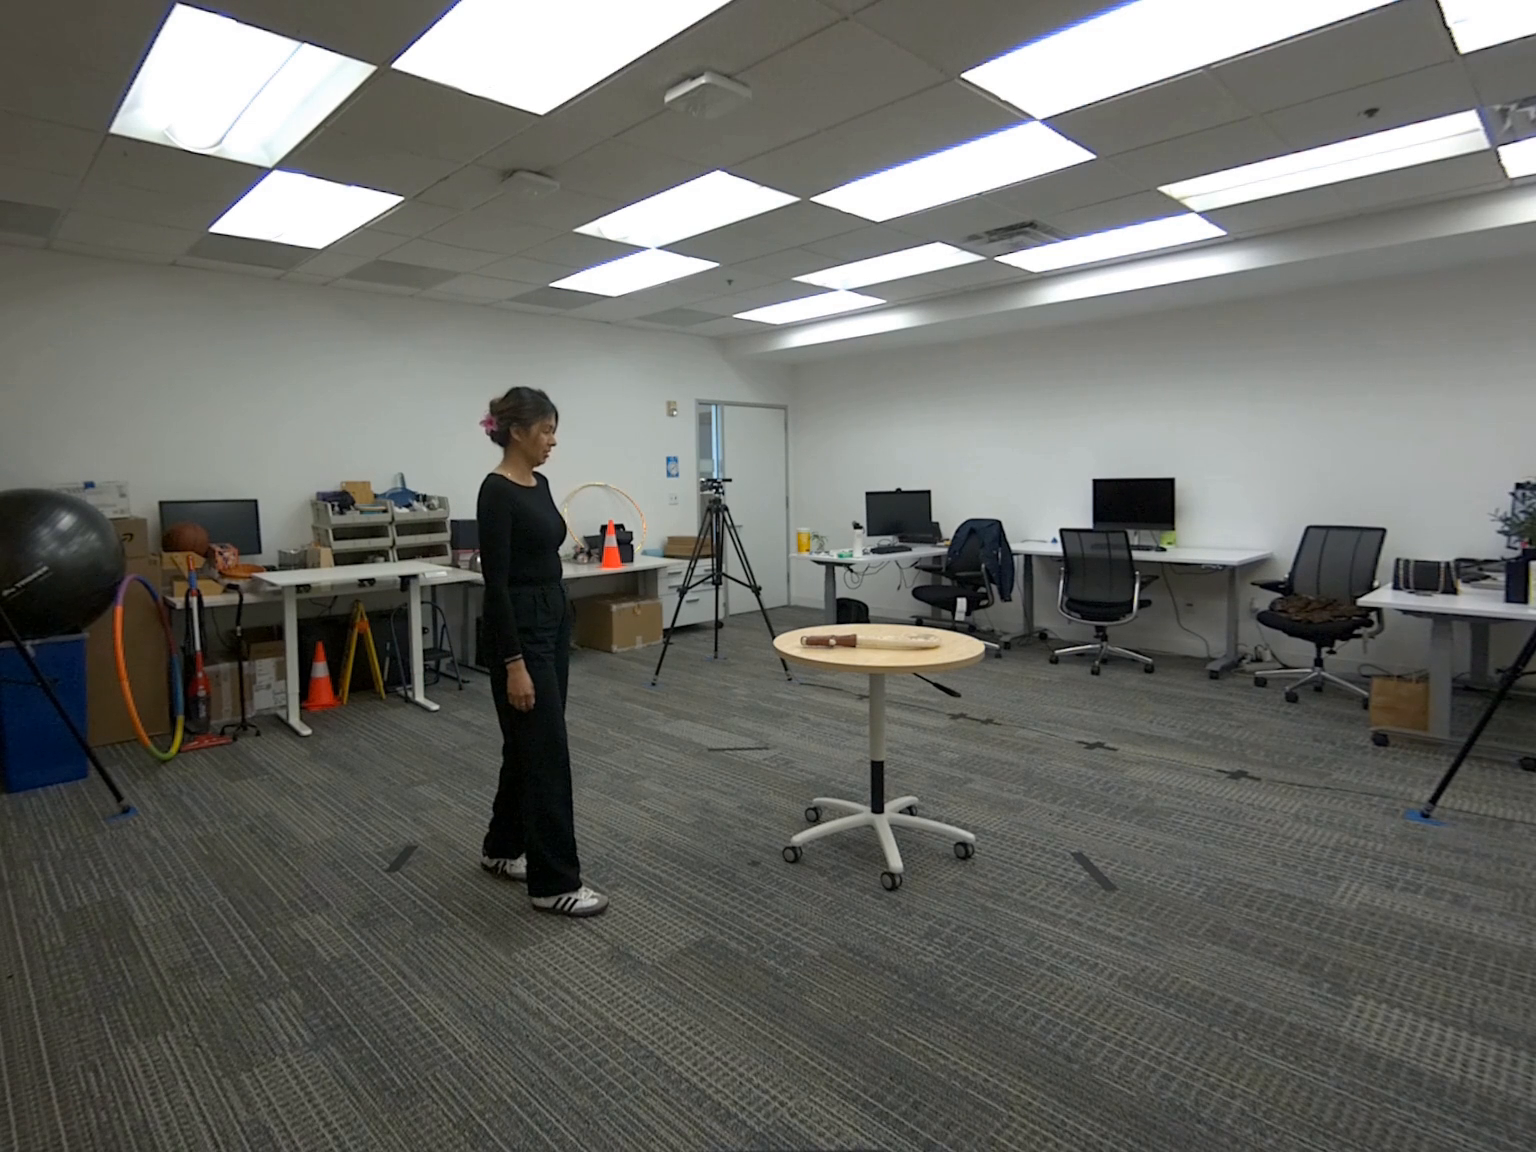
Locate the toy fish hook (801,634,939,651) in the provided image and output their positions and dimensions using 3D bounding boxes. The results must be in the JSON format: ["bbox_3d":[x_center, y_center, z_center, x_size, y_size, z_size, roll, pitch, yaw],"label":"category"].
[{"bbox_3d":[0.382,0.239,3.129,0.508,0.048,0.223,0,0,3],"label":"toy fish hook"}]
